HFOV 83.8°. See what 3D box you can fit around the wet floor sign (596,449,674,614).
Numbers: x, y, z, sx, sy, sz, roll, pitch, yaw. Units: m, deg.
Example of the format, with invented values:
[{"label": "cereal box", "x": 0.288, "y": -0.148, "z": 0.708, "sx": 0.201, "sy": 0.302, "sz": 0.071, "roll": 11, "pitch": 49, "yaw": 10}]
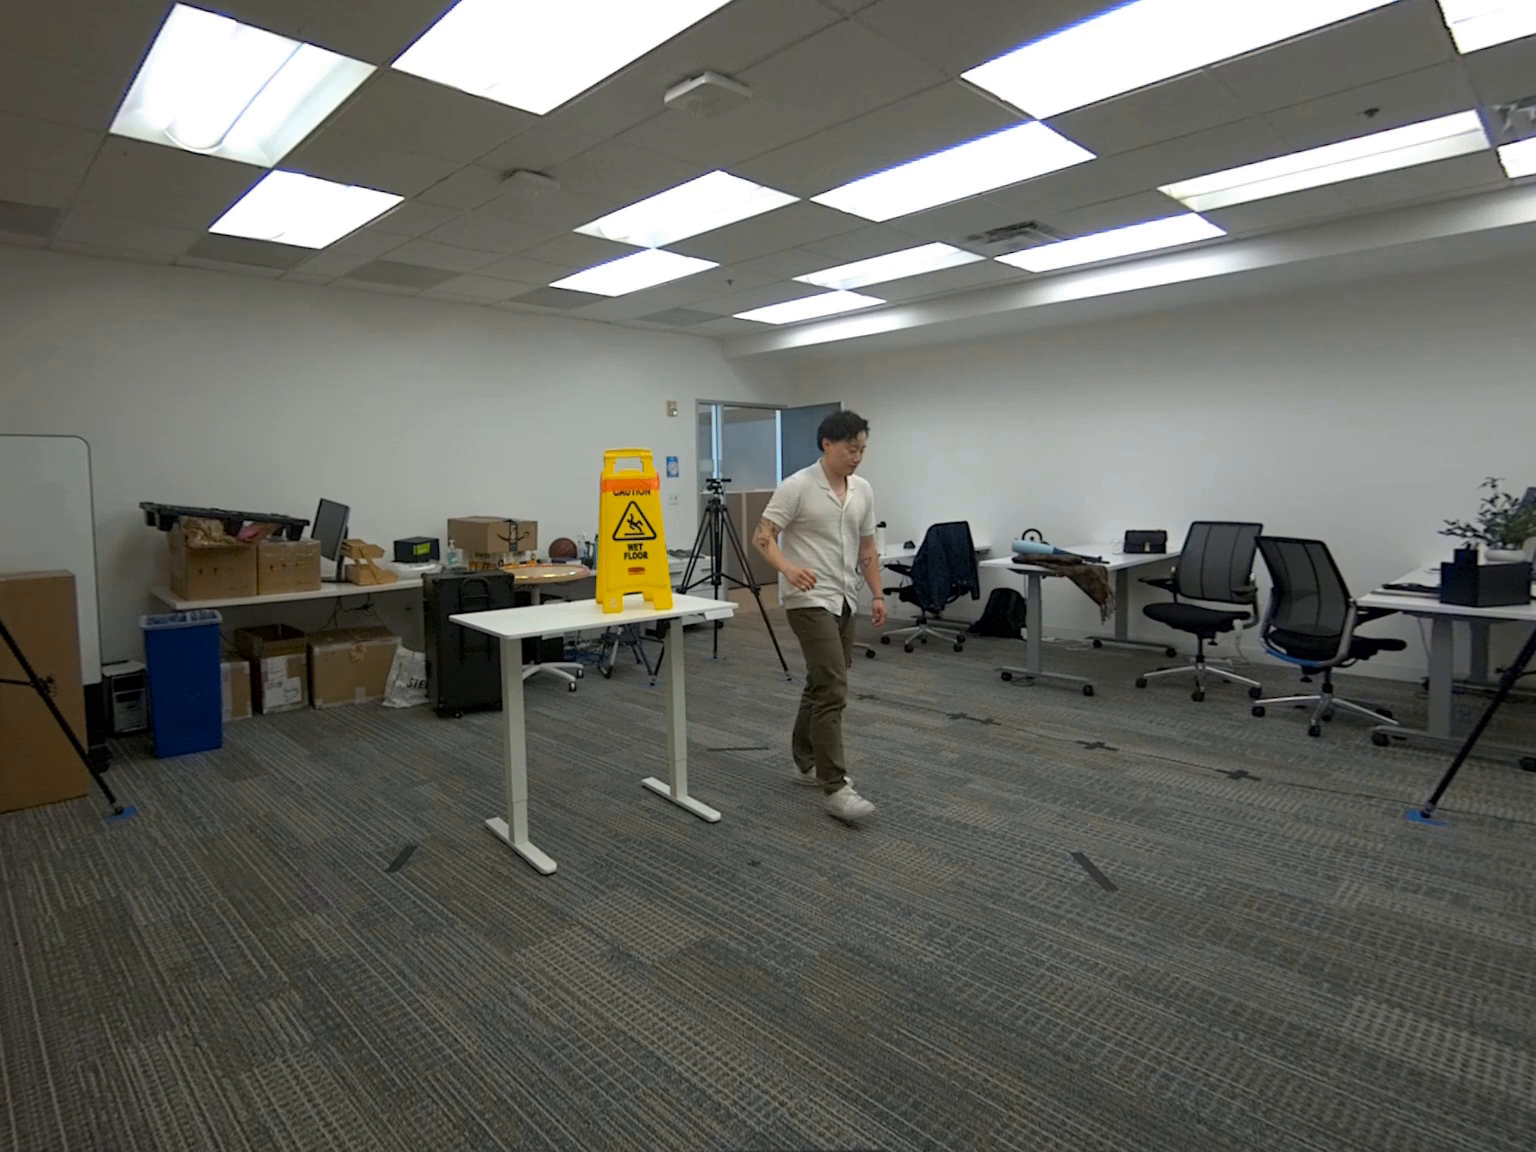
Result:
[{"label": "wet floor sign", "x": -0.564, "y": -0.194, "z": 3.496, "sx": 0.278, "sy": 0.643, "sz": 0.295, "roll": -3, "pitch": 5, "yaw": -15}]
